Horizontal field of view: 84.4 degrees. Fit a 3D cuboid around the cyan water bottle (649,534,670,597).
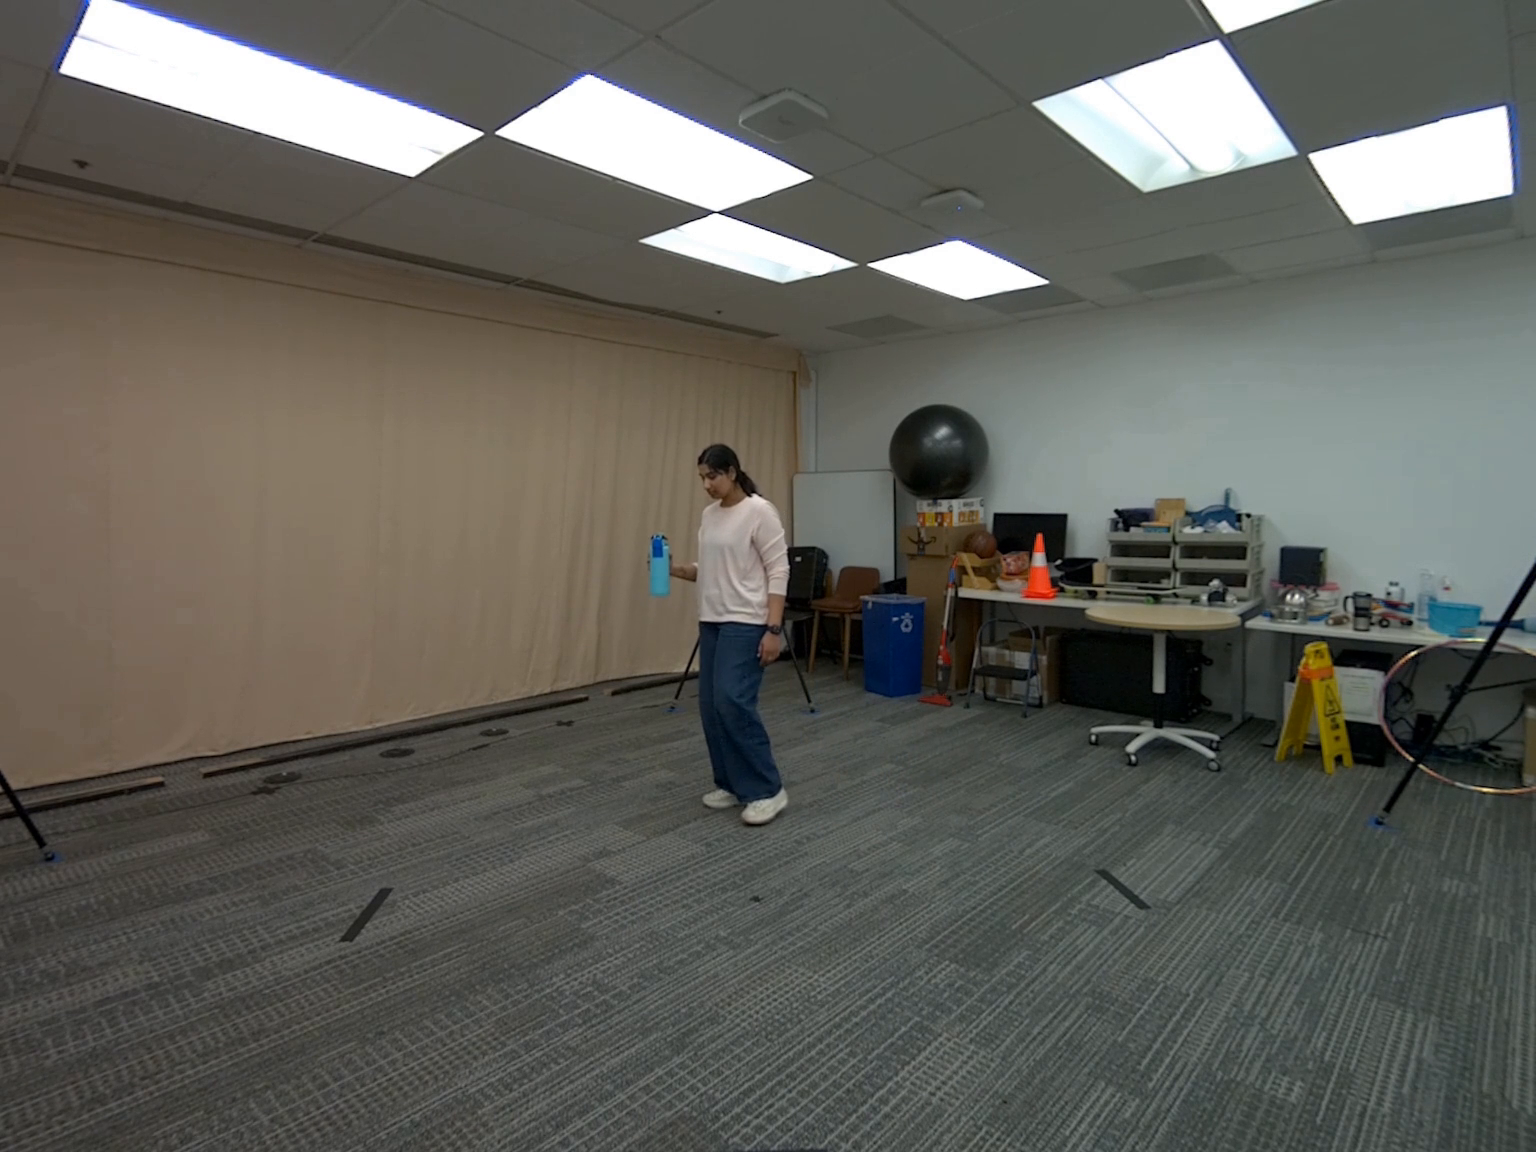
[{"bbox_3d":[-0.490,-0.054,3.848,0.092,0.282,0.093,-1,7,-2],"label":"cyan water bottle"}]
